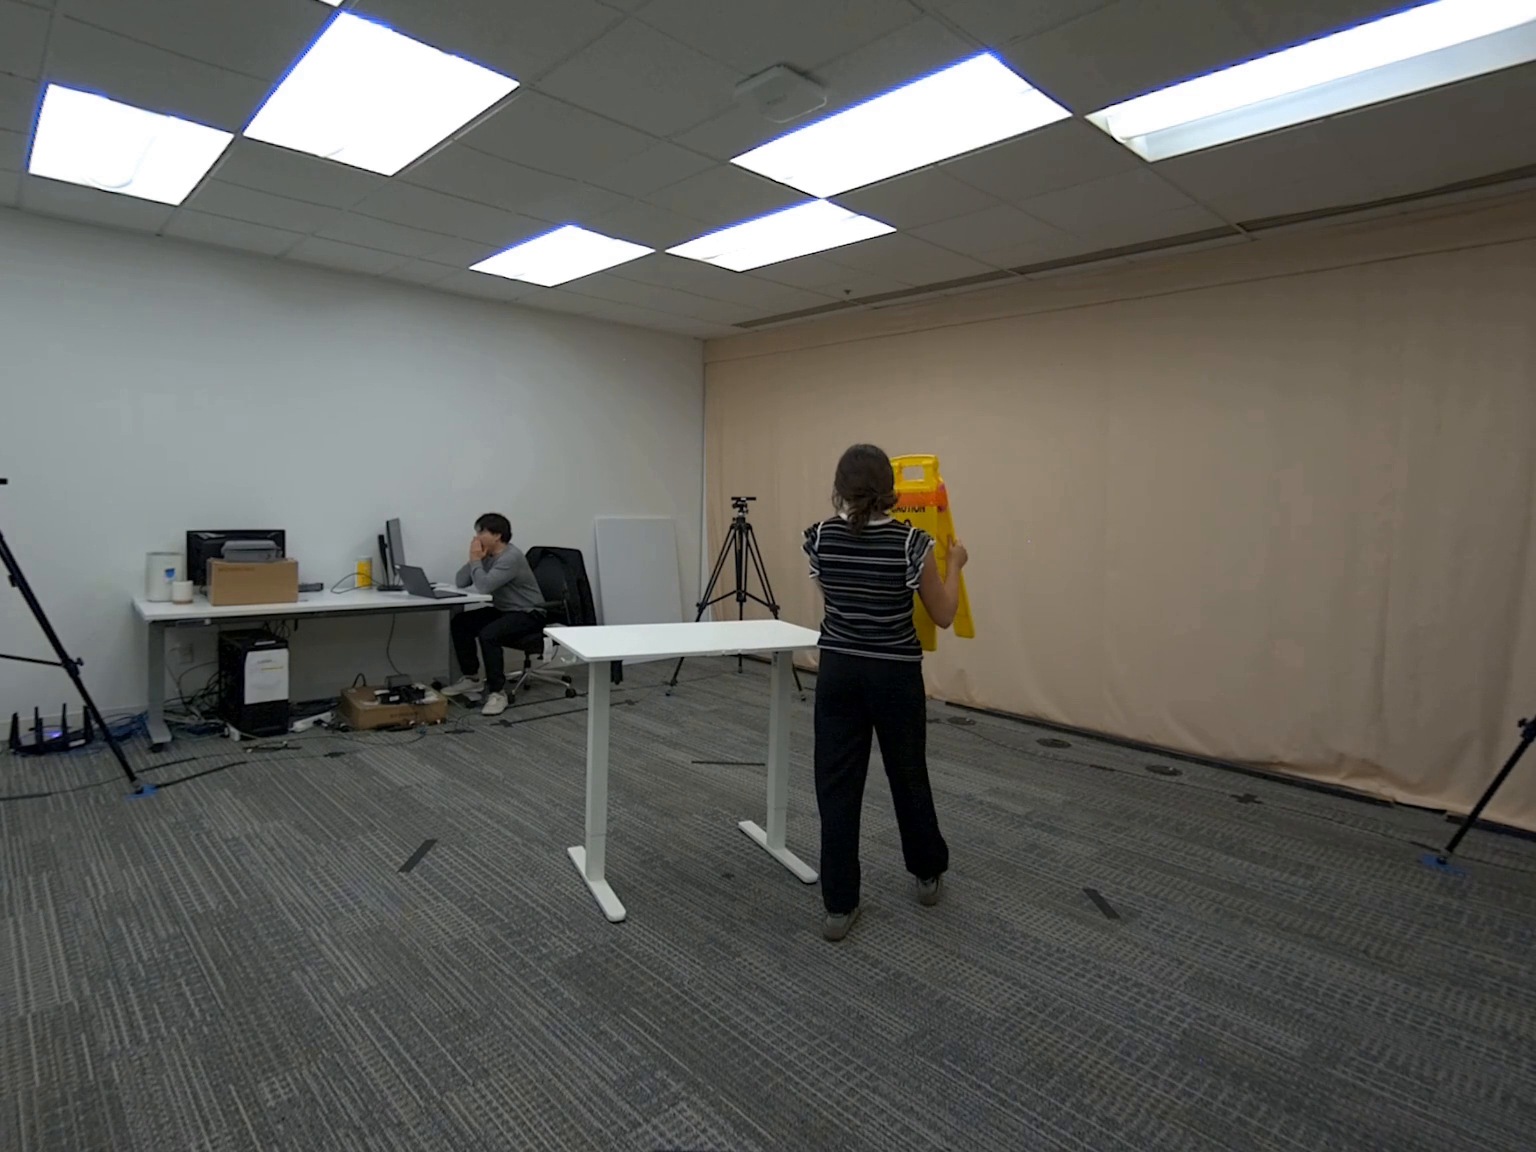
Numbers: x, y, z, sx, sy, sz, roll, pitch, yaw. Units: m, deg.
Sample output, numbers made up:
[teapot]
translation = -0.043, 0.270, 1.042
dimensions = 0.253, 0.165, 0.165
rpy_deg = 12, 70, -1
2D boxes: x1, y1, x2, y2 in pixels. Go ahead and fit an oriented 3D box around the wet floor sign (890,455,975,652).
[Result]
[wet floor sign]
translation = 0.514, -0.092, 2.939
dimensions = 0.284, 0.643, 0.289
rpy_deg = -9, 7, -42
